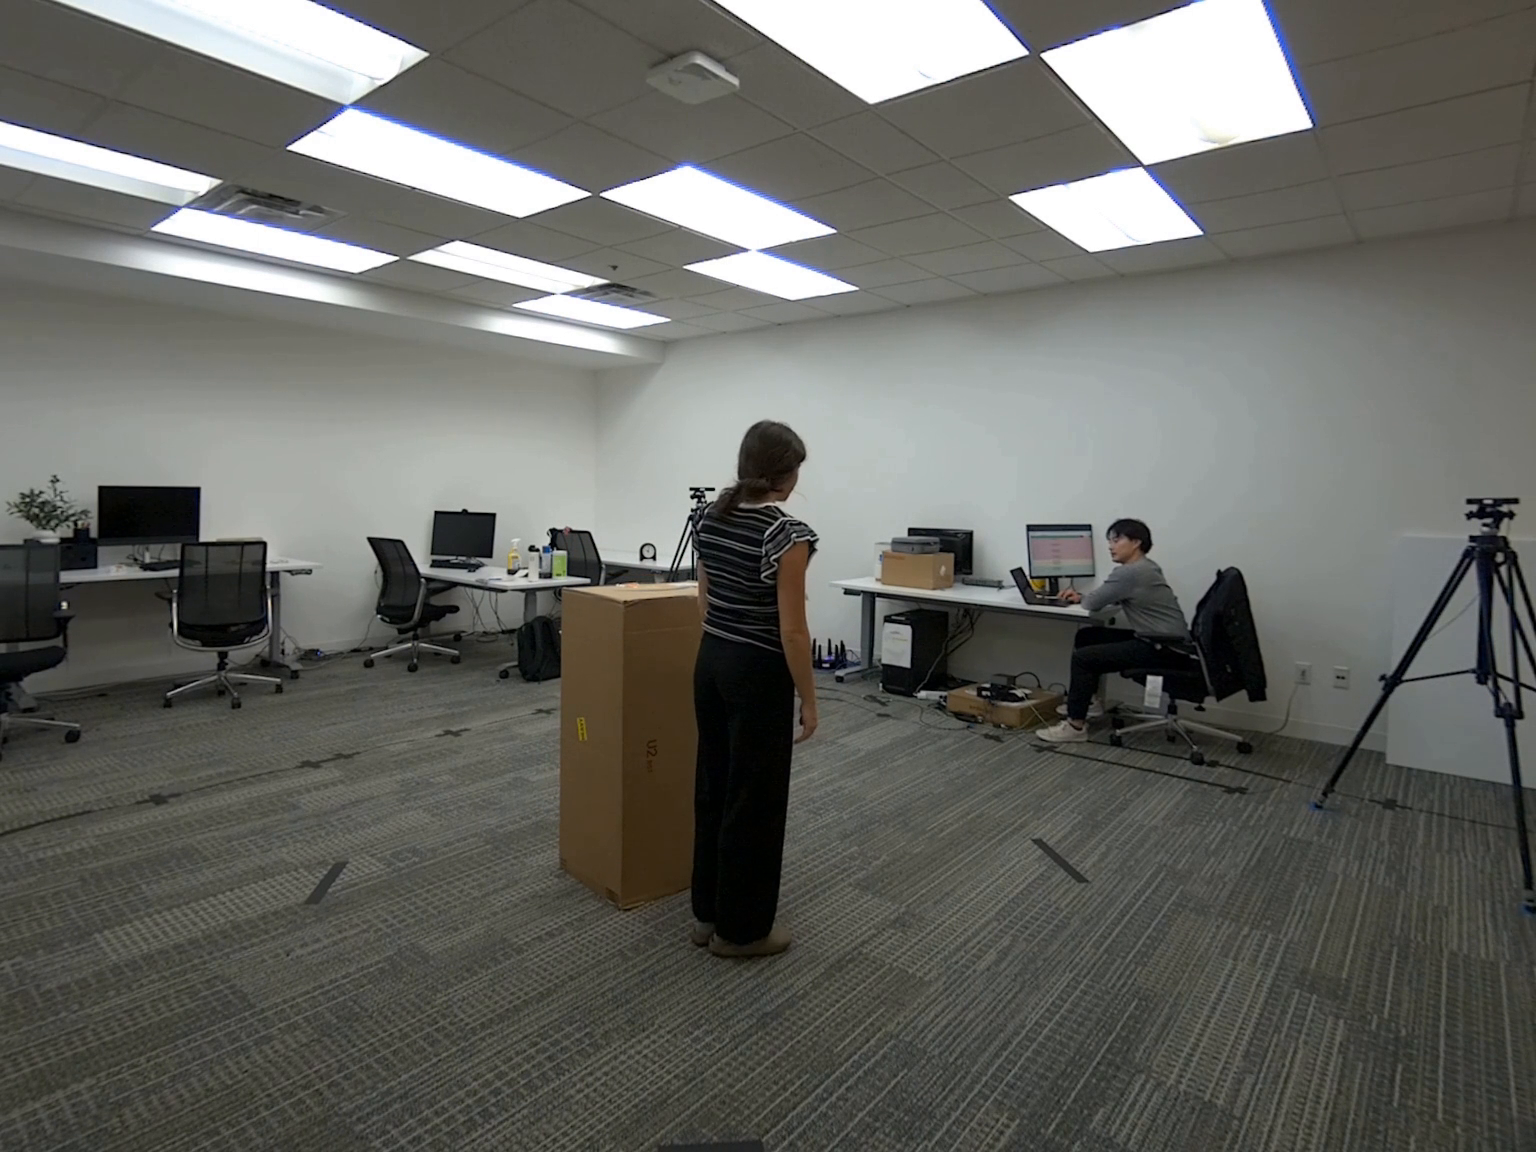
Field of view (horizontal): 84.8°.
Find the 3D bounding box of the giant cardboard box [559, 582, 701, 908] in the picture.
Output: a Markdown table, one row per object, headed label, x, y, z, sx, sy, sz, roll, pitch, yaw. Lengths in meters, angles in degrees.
| label | x | y | z | sx | sy | sz | roll | pitch | yaw |
| --- | --- | --- | --- | --- | --- | --- | --- | --- | --- |
| giant cardboard box | -0.415 | 0.554 | 3.097 | 0.560 | 1.023 | 0.440 | -2 | 4 | -41 |
